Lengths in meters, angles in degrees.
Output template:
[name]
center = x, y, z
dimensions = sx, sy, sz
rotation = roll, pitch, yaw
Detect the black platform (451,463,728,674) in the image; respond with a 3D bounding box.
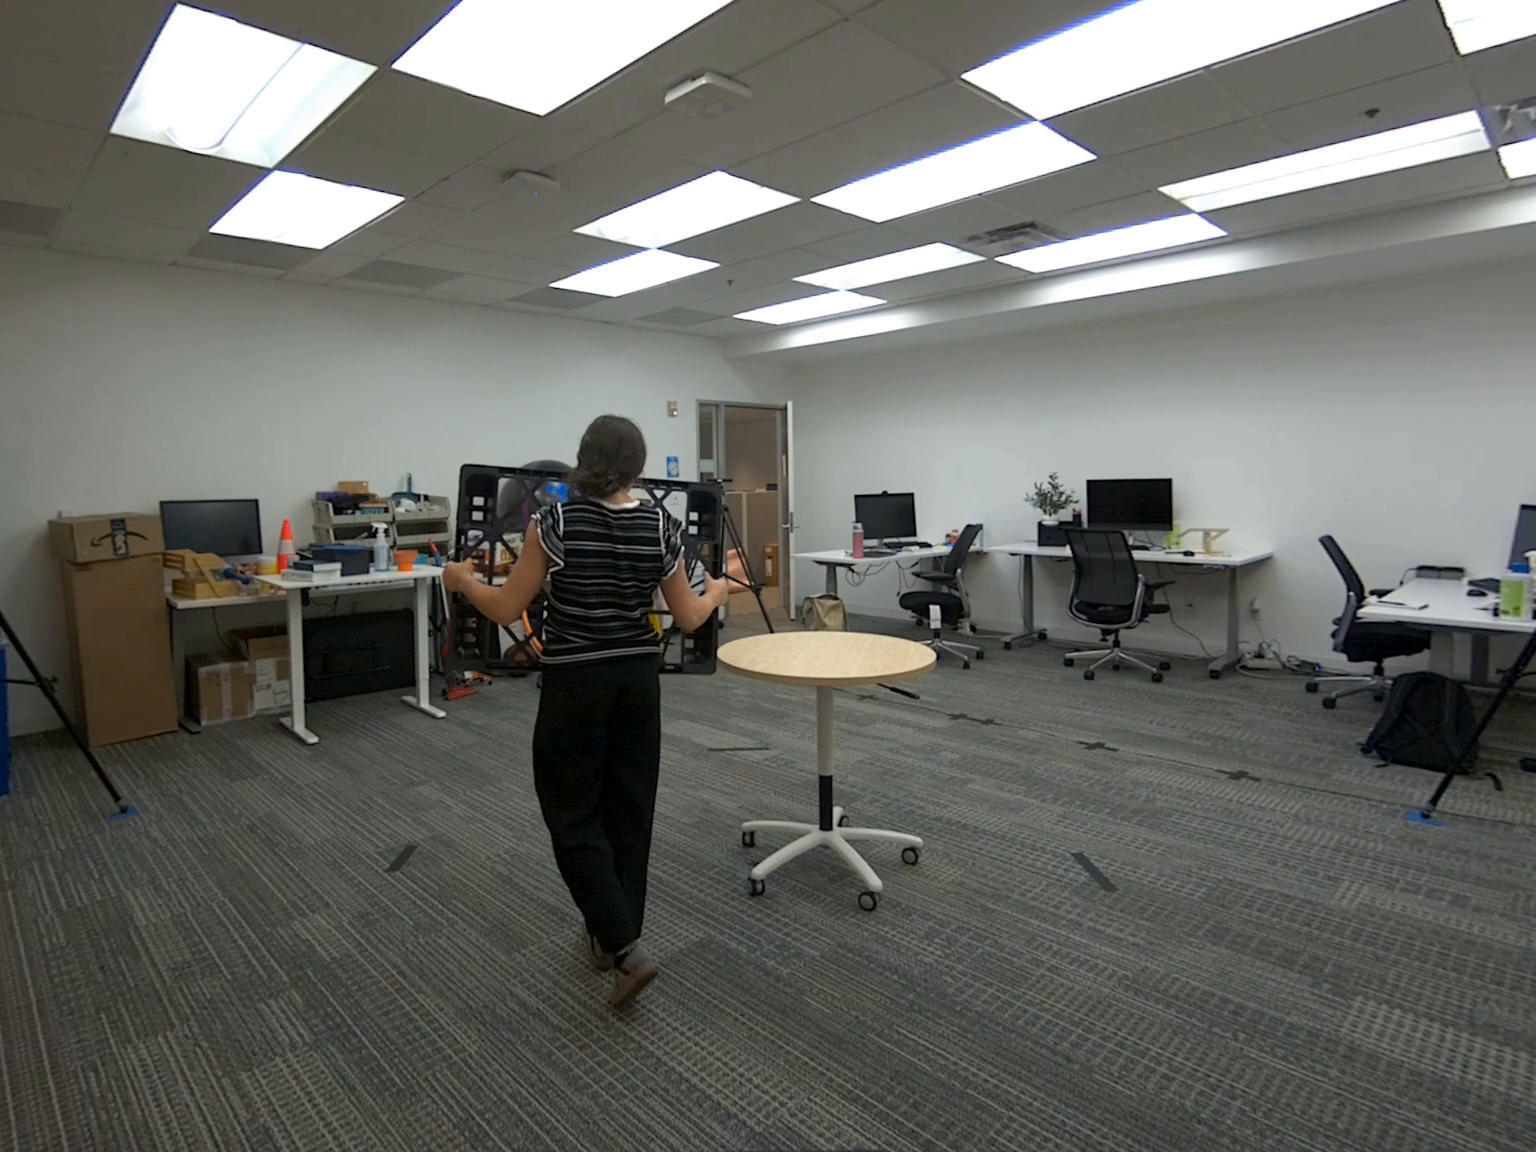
[black platform]
center = -0.548, -0.011, 2.619
dimensions = 0.793, 0.608, 0.145
rotation = 3, -5, -15
